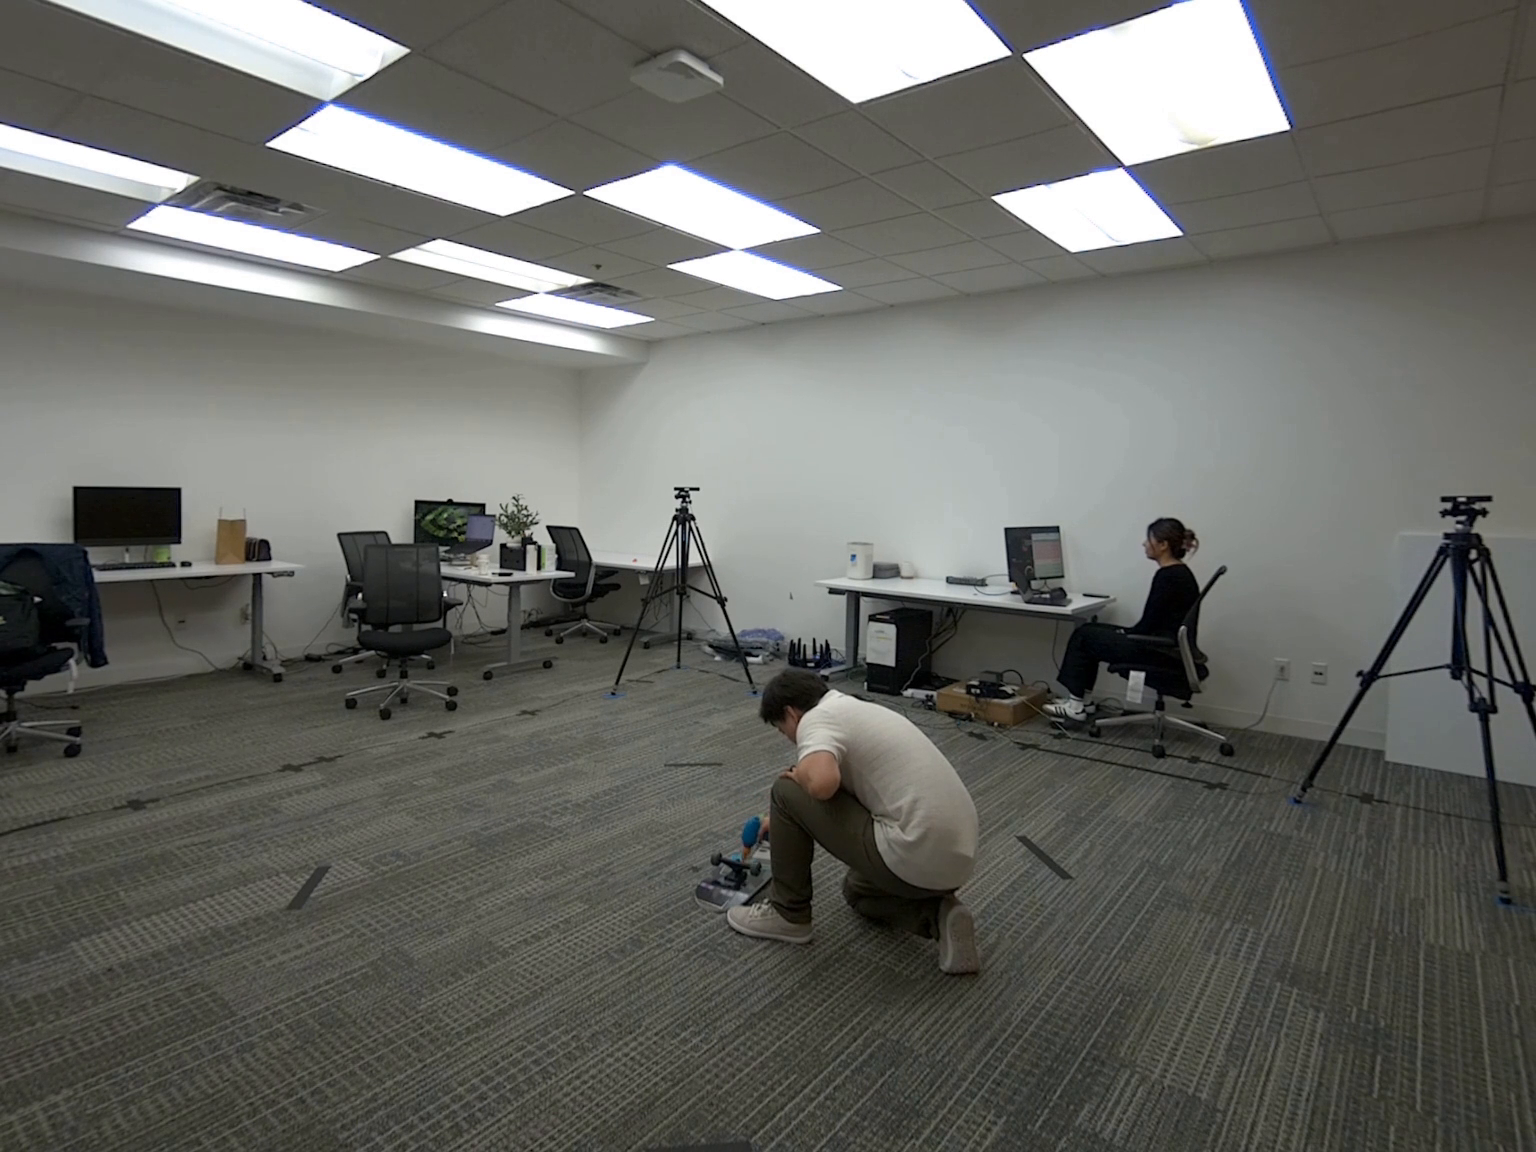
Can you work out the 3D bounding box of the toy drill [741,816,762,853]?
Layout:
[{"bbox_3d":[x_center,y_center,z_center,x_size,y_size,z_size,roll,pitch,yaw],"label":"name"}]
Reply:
[{"bbox_3d":[-0.037,0.951,3.028,0.146,0.170,0.061,13,-5,2],"label":"toy drill"}]
